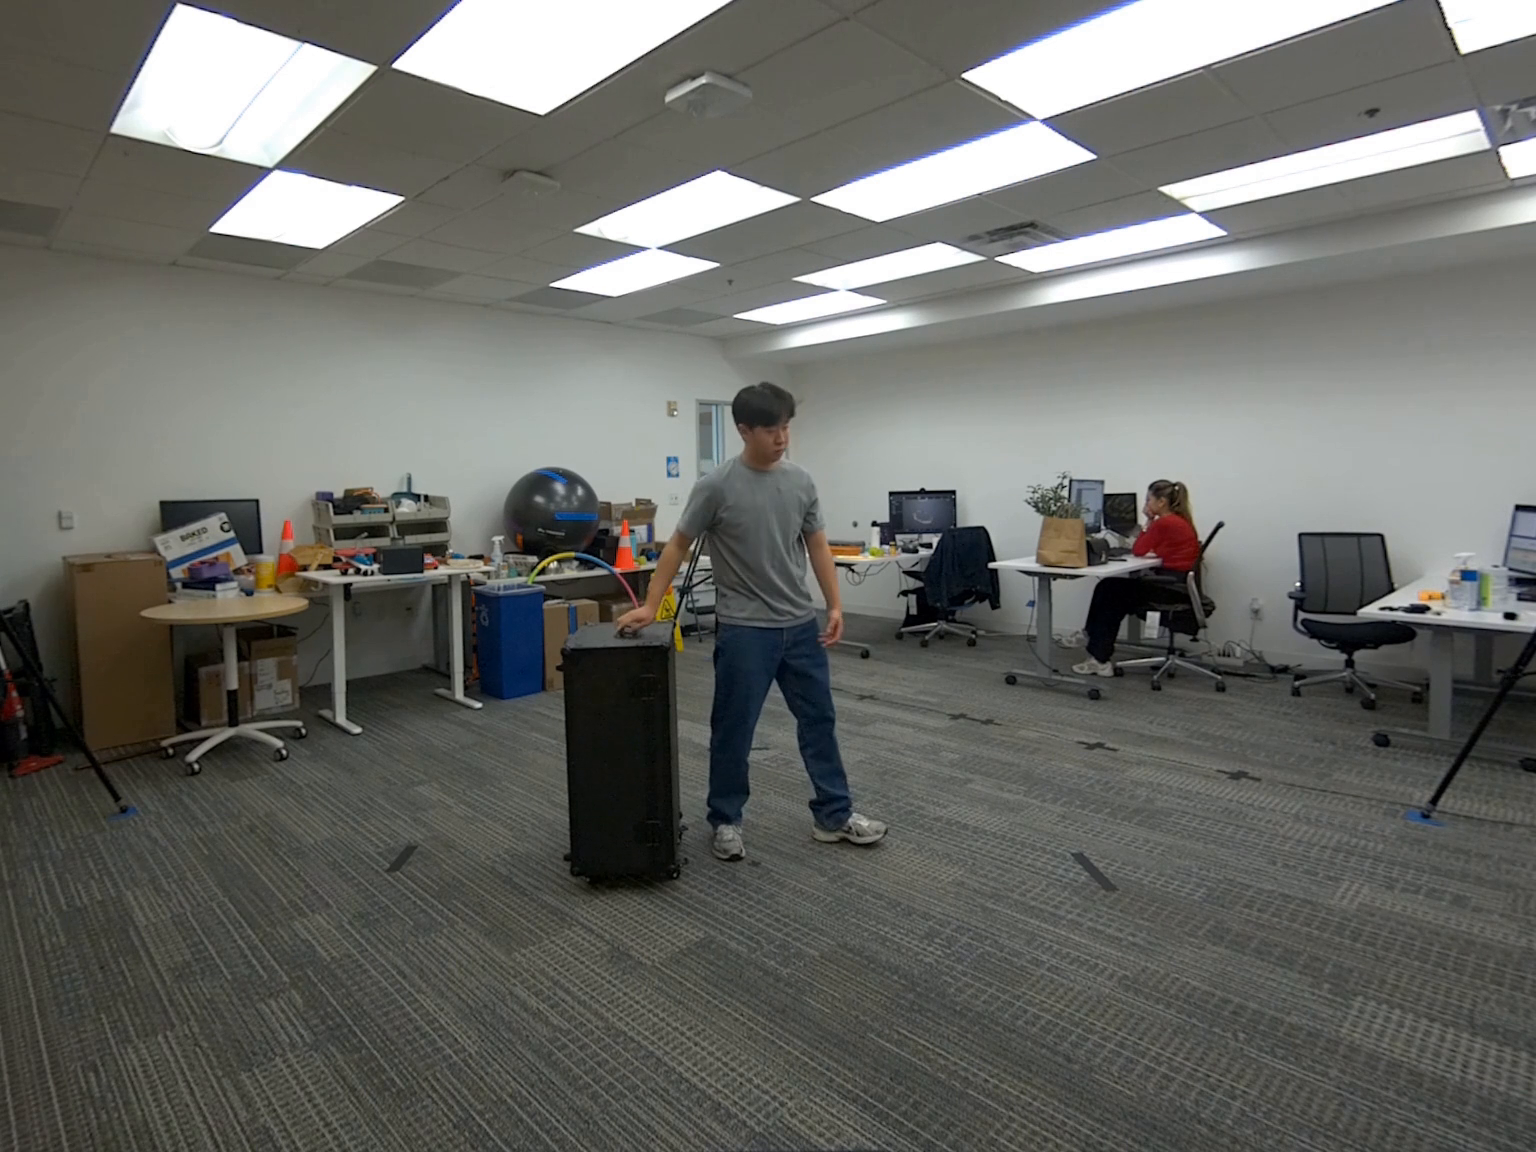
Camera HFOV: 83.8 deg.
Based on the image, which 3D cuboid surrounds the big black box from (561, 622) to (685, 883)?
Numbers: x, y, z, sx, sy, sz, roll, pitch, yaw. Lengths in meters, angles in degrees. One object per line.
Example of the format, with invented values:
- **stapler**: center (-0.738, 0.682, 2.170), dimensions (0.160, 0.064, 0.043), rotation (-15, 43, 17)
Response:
- **big black box**: center (-0.526, 0.571, 3.095), dimensions (0.395, 0.858, 0.524), rotation (-1, 5, -3)
